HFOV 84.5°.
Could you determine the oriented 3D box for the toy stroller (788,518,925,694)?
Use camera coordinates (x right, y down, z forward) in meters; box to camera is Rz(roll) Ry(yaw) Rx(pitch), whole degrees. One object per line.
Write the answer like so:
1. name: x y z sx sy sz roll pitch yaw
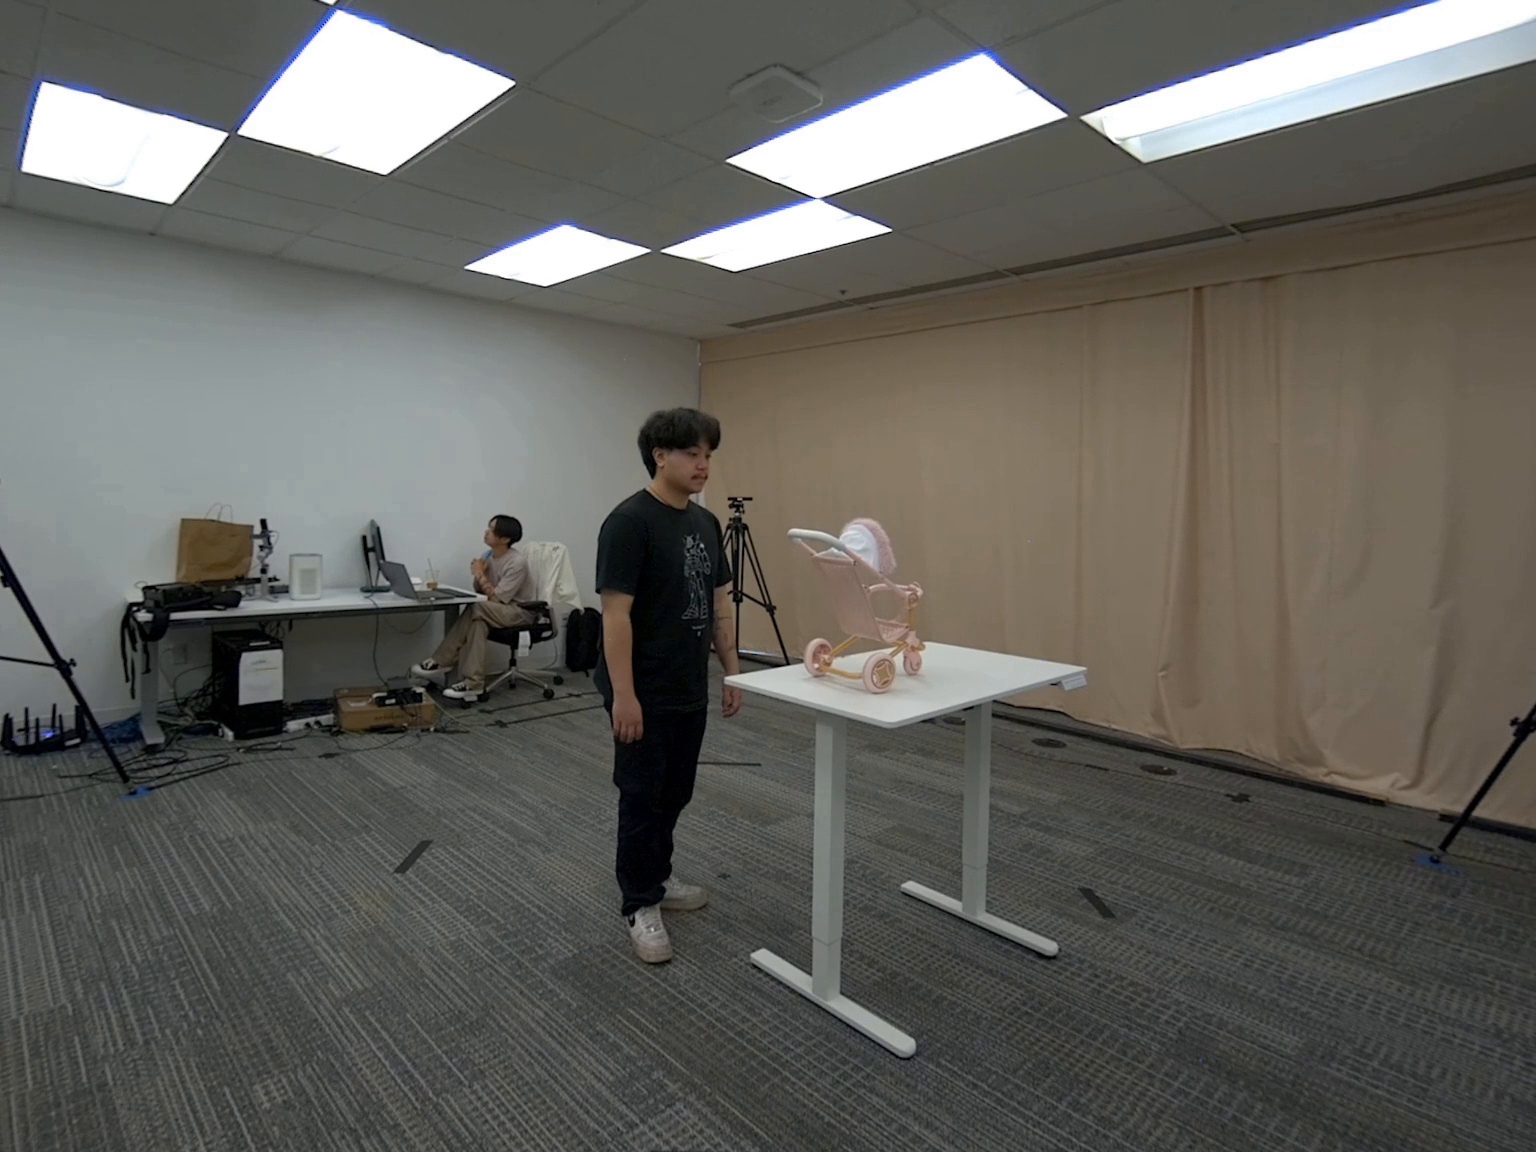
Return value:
1. toy stroller: 0.277 0.079 2.372 0.337 0.529 0.288 -19 13 -28
